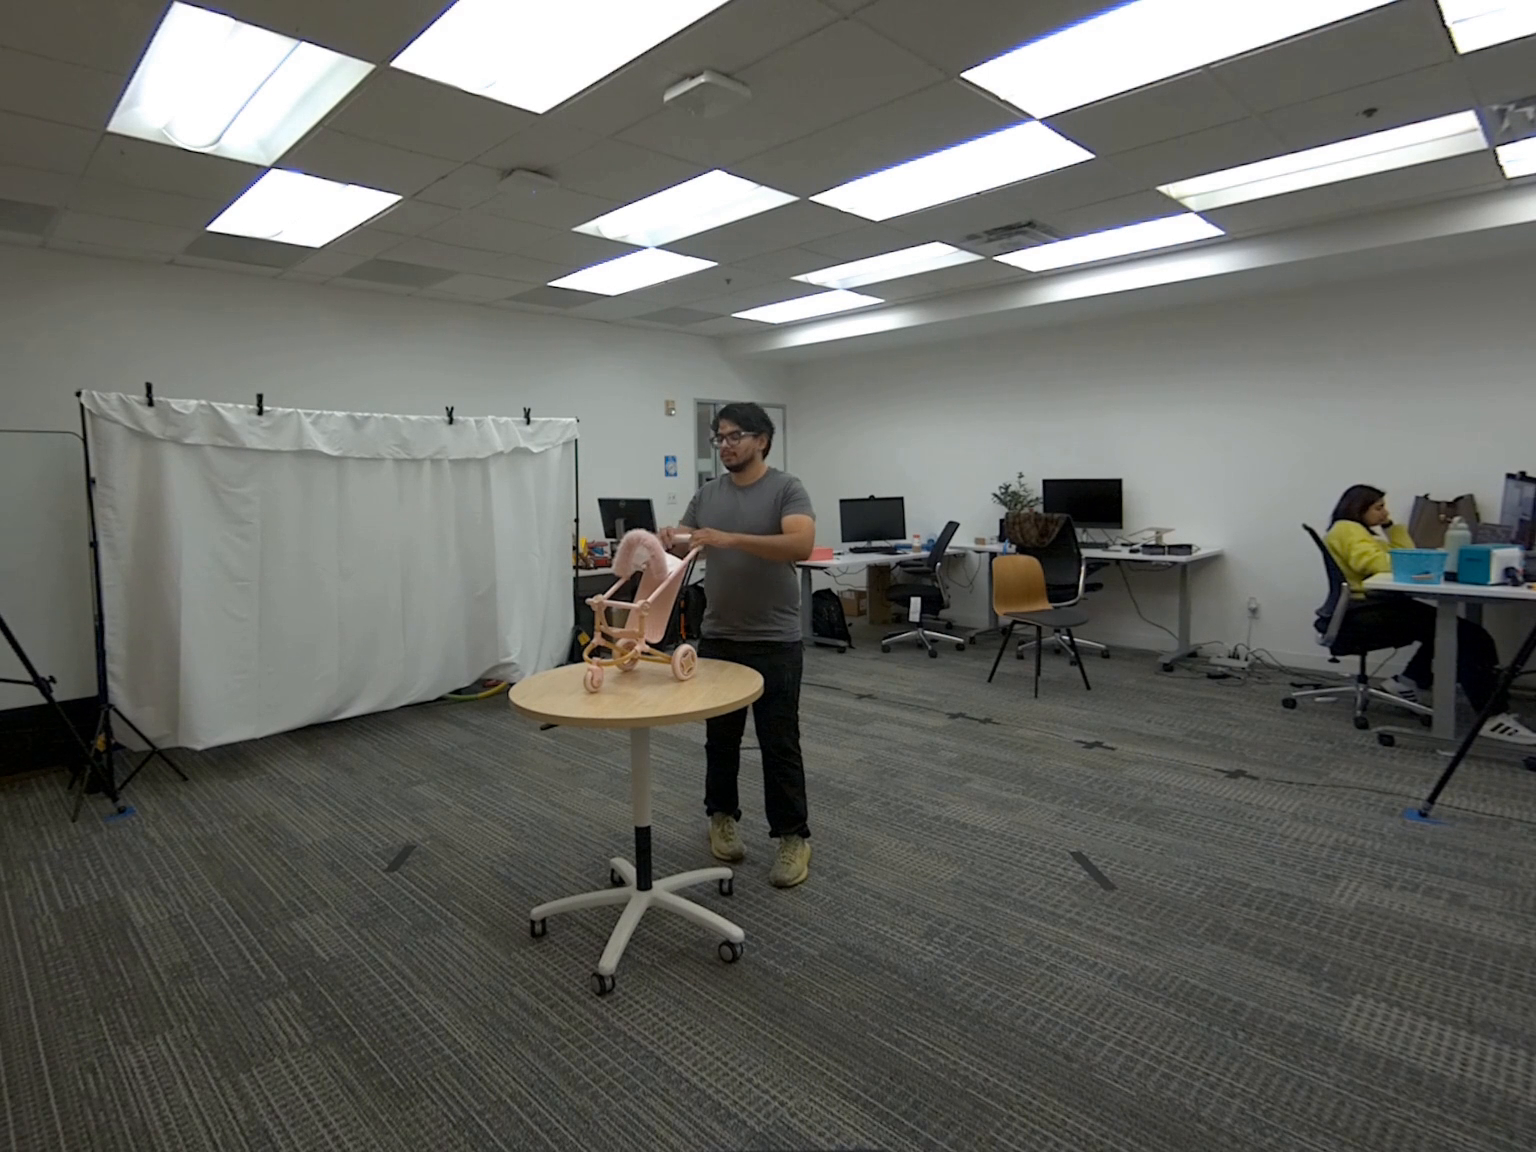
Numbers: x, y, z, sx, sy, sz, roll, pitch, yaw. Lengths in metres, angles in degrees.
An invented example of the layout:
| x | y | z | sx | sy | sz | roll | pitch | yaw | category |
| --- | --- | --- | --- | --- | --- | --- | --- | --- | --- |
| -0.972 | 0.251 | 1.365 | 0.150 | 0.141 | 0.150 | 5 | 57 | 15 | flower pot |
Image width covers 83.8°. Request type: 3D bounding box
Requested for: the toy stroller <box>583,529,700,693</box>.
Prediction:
| x | y | z | sx | sy | sz | roll | pitch | yaw | category |
| --- | --- | --- | --- | --- | --- | --- | --- | --- | --- |
| -0.397 | 0.098 | 2.633 | 0.290 | 0.538 | 0.329 | 1 | -10 | 42 | toy stroller |
